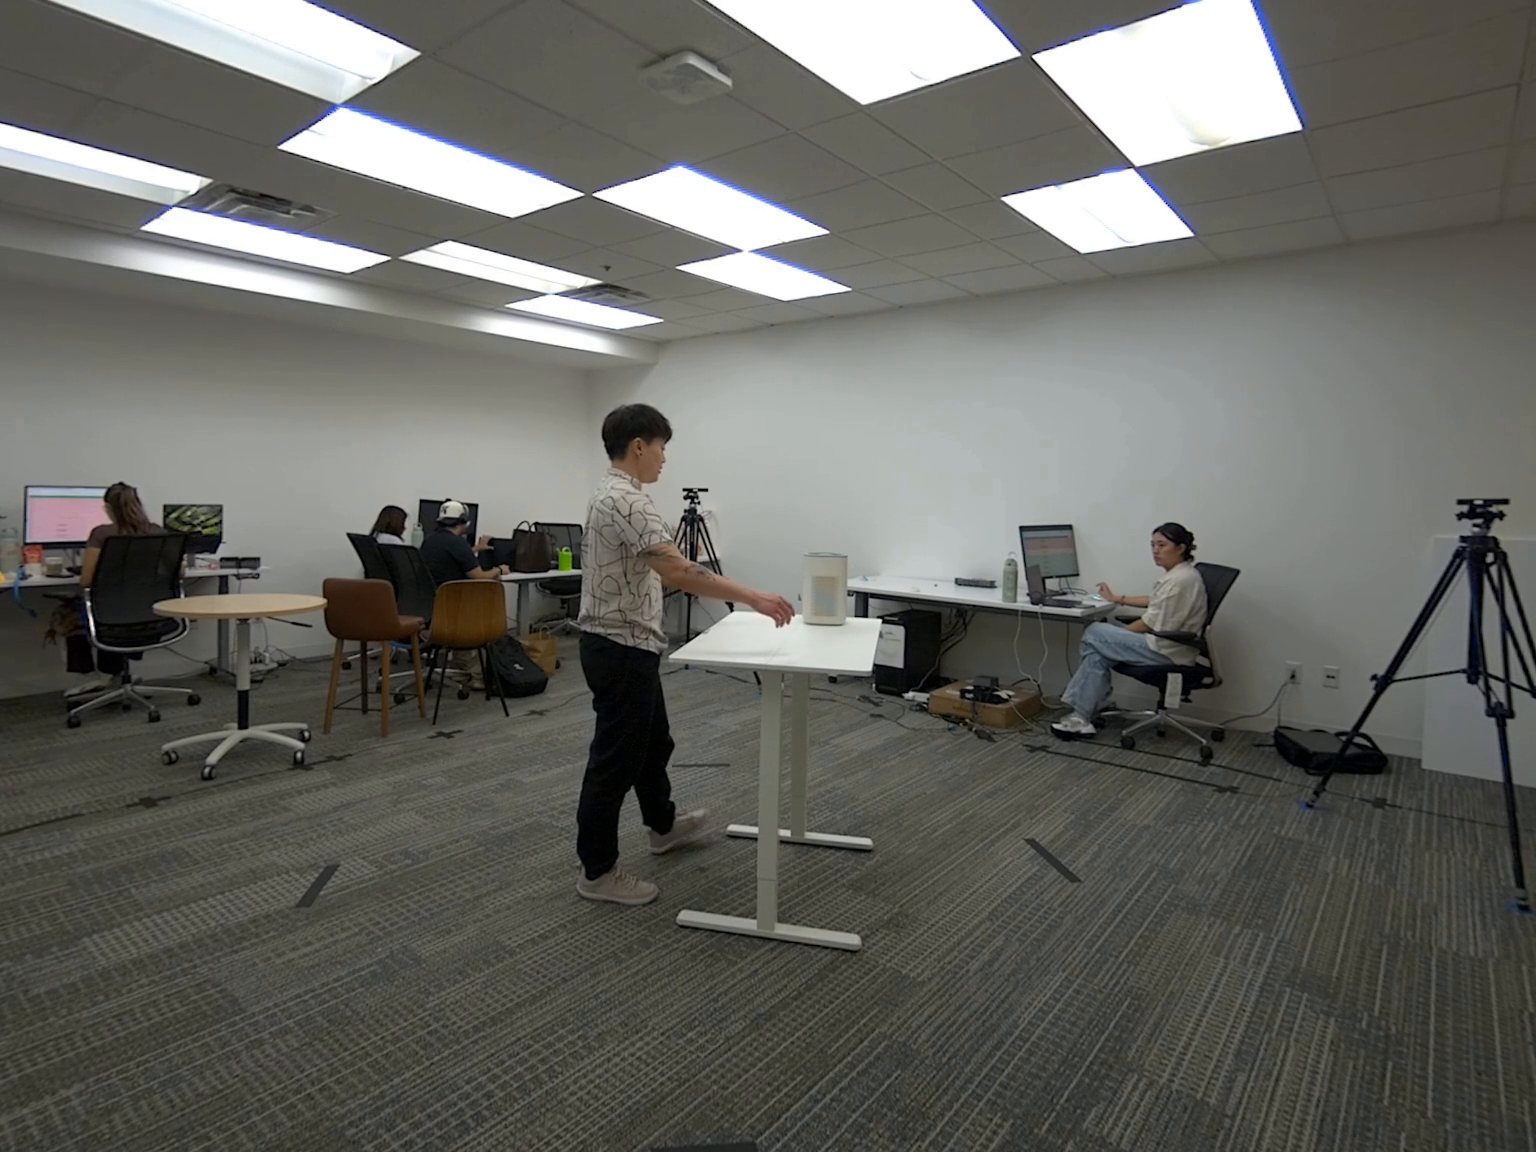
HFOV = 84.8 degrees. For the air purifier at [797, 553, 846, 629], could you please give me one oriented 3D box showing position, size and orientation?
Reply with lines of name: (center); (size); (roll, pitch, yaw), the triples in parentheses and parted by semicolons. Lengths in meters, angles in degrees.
air purifier: (0.204, 0.052, 3.260); (0.172, 0.264, 0.171); (1, 5, 4)
